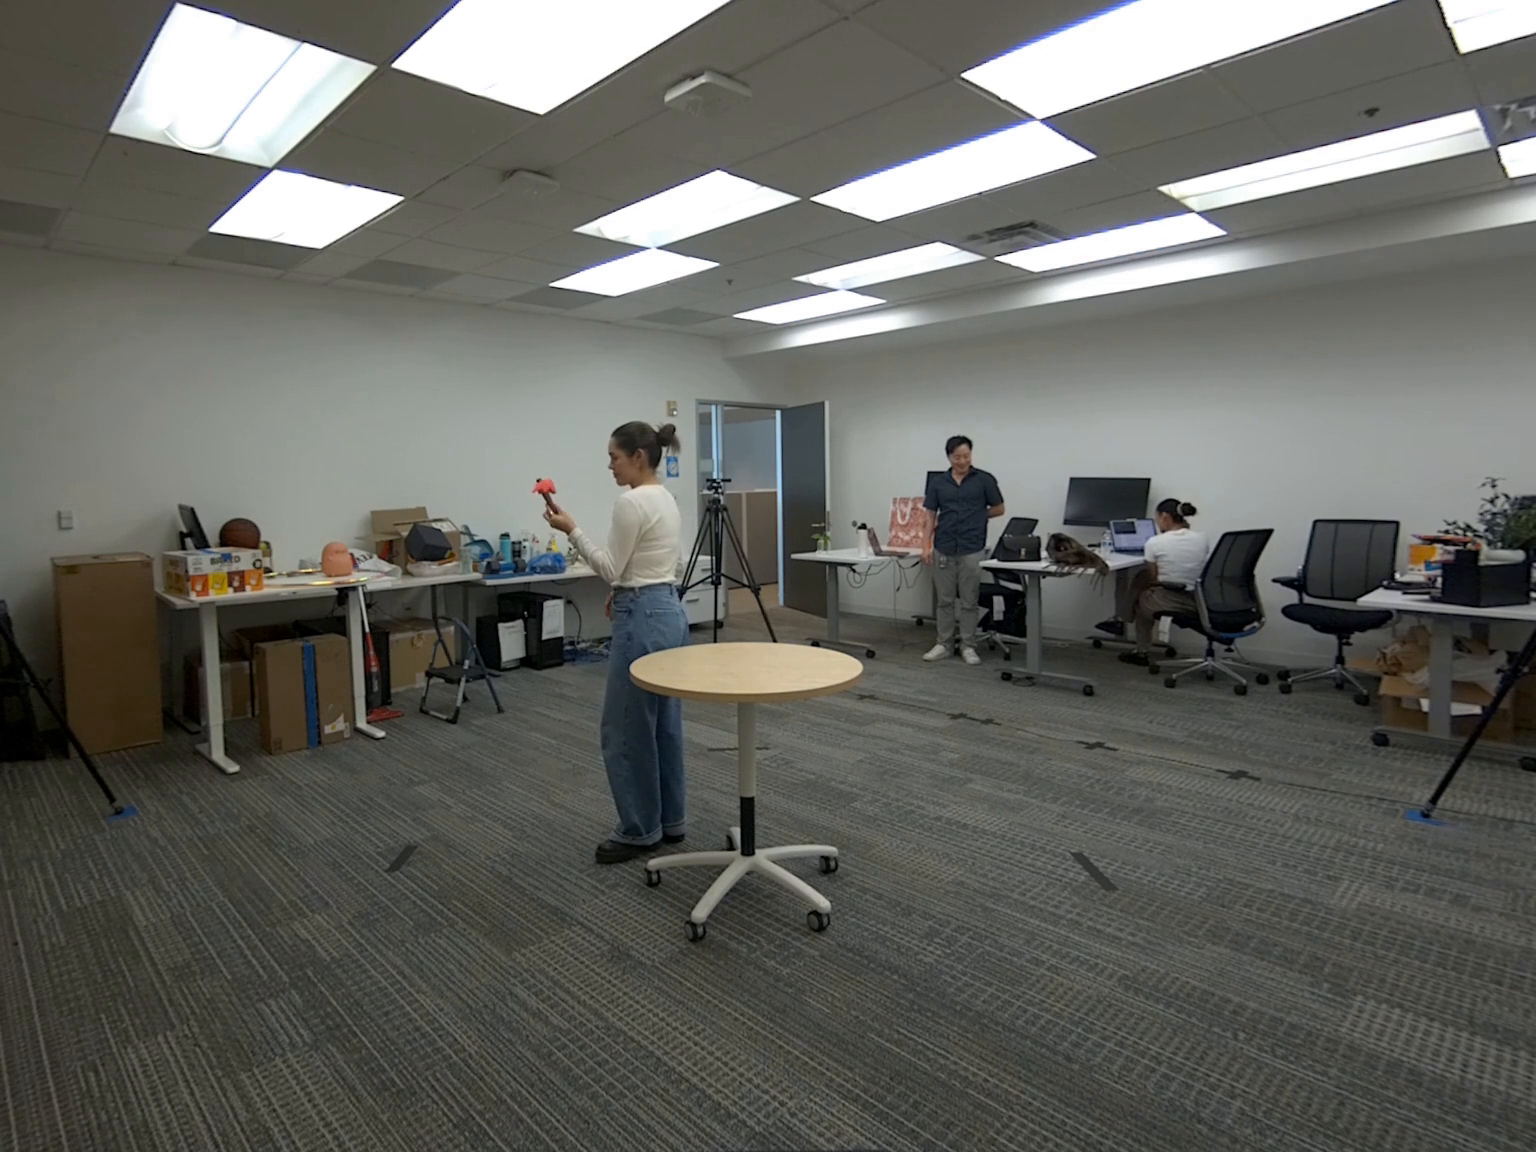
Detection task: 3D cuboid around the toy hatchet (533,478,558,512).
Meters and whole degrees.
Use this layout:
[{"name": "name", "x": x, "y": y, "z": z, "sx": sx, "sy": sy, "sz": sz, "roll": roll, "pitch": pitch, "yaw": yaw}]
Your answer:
[{"name": "toy hatchet", "x": -0.783, "y": -0.261, "z": 3.208, "sx": 0.030, "sy": 0.261, "sz": 0.134, "roll": -22, "pitch": 34, "yaw": 22}]
